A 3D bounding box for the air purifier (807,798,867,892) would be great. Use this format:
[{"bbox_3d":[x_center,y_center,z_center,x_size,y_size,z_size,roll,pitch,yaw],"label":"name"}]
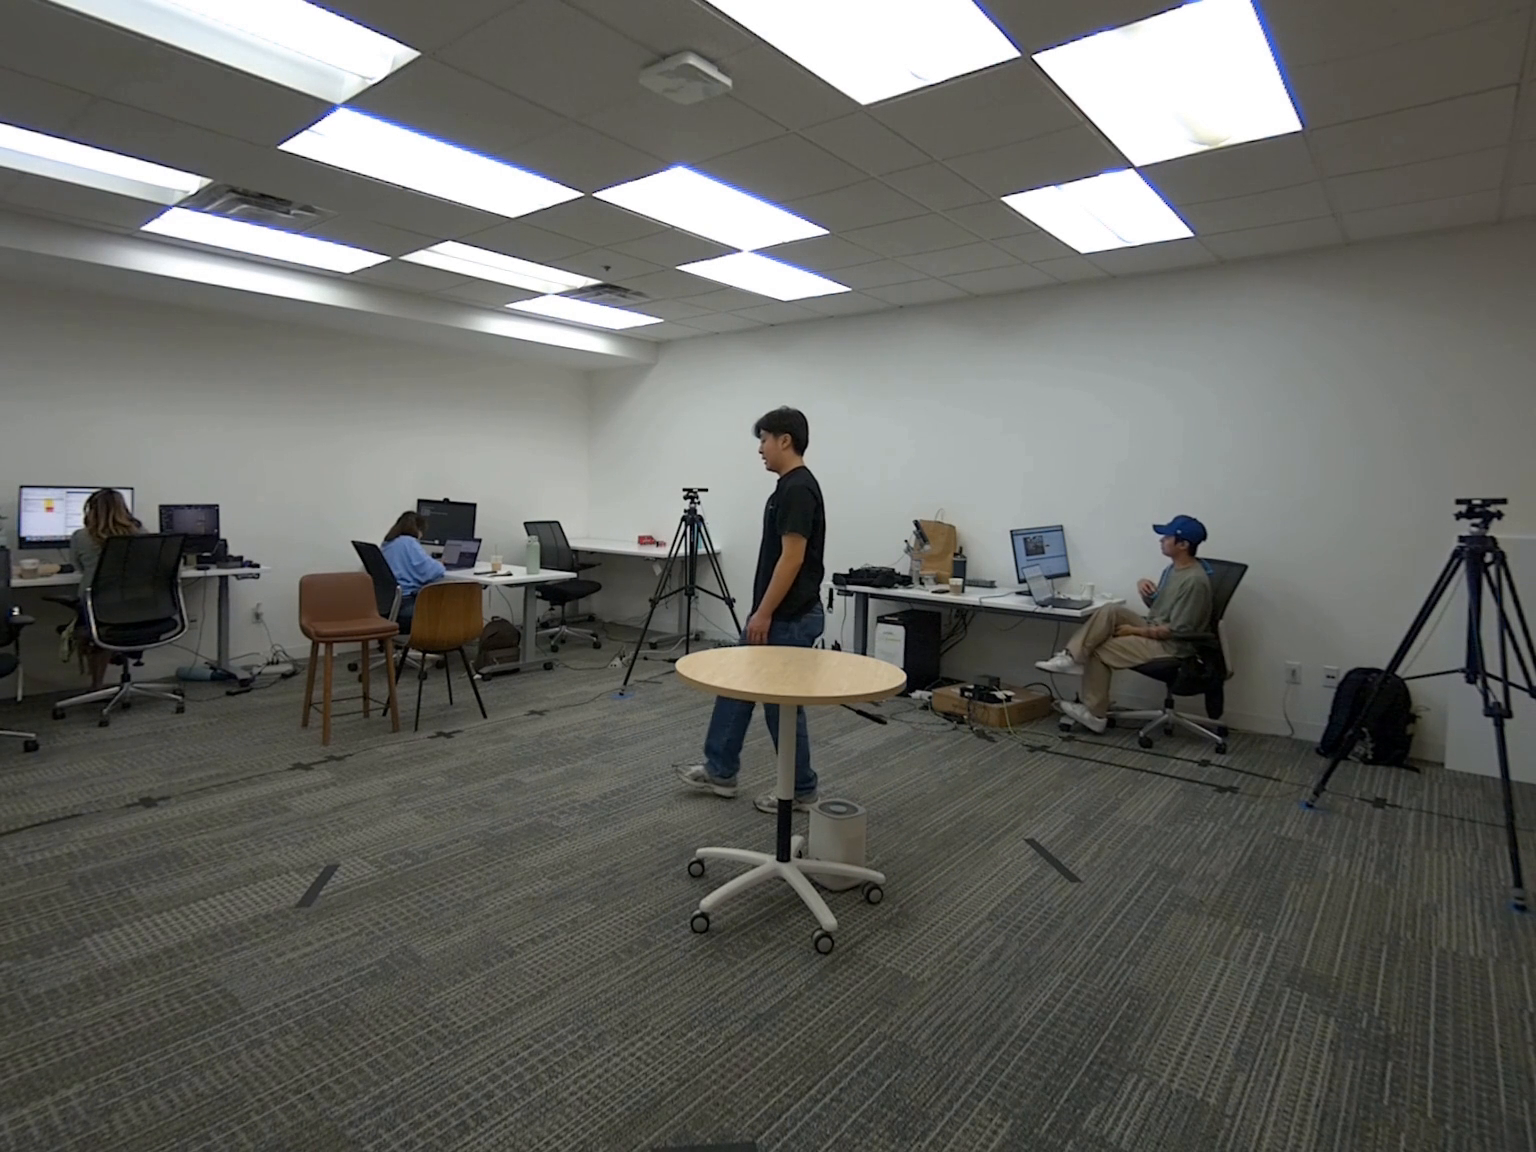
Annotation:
[{"bbox_3d":[0.252,0.959,3.053,0.167,0.265,0.176,-5,4,-38],"label":"air purifier"}]
